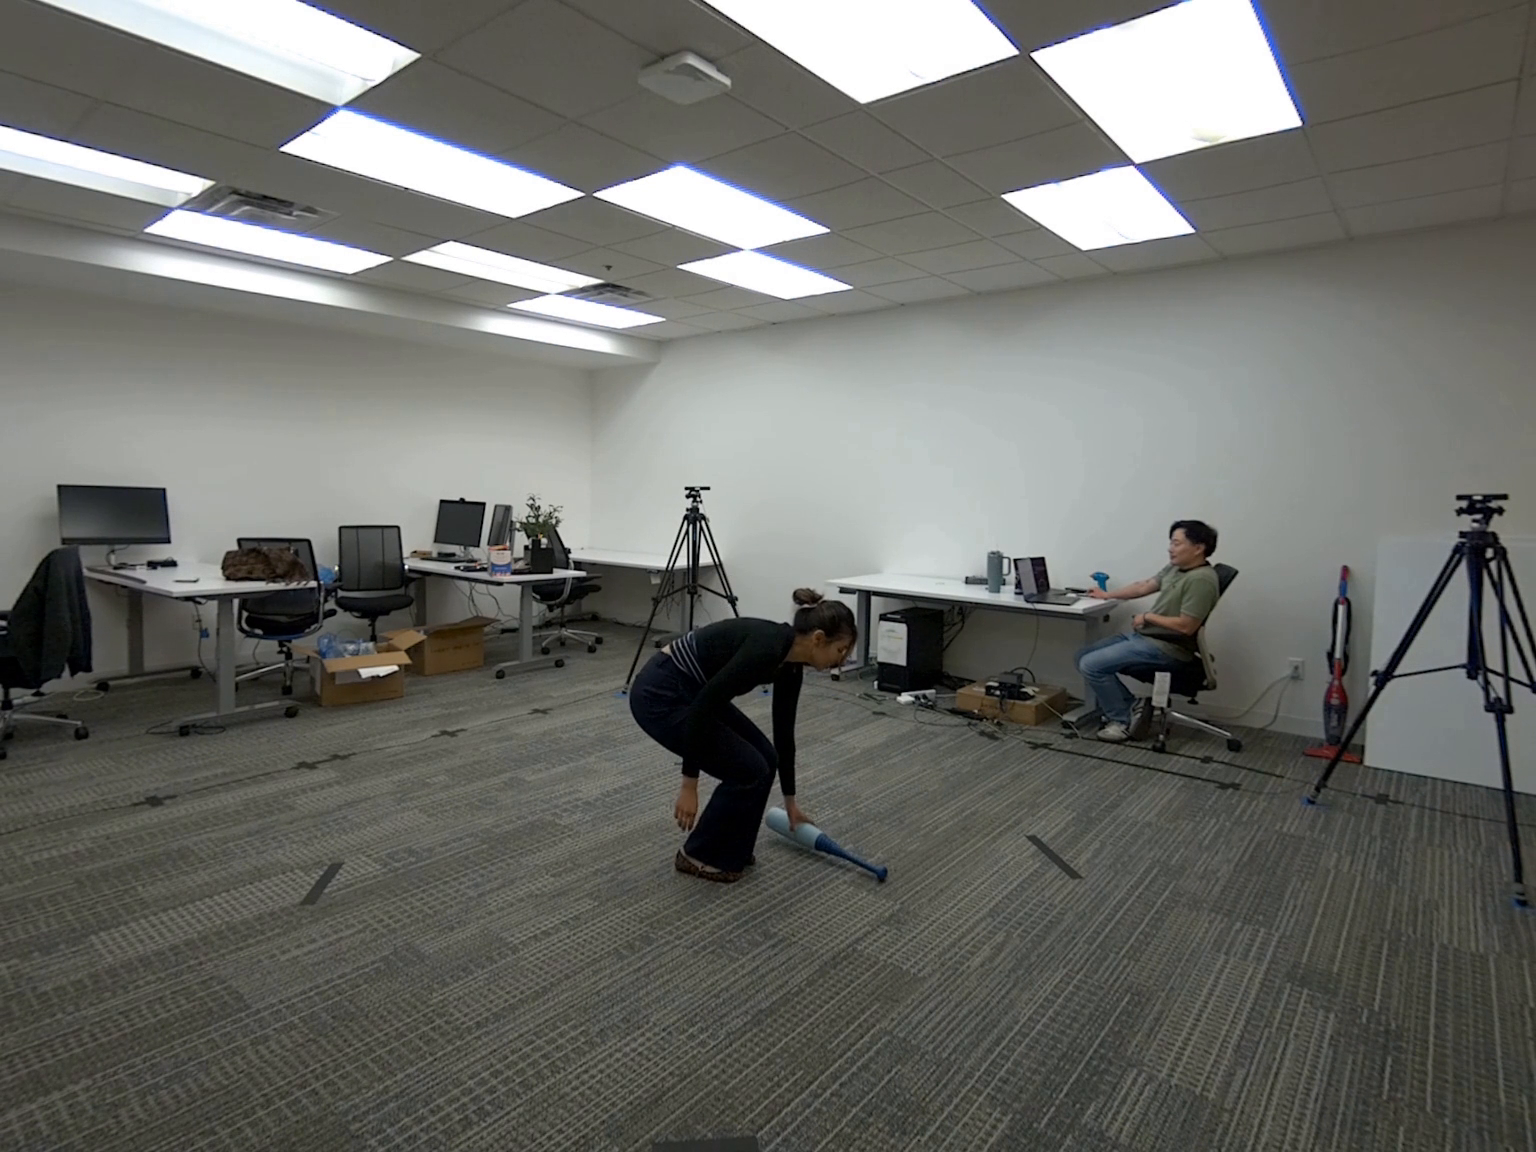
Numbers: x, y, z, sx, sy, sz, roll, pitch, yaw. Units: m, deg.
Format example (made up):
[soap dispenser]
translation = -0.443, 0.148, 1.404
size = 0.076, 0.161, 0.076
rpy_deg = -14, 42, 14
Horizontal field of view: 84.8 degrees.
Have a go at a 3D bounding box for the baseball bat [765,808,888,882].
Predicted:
[baseball bat]
translation = 0.203, 1.004, 3.201
size = 0.564, 0.088, 0.086
rpy_deg = 15, 12, 41
